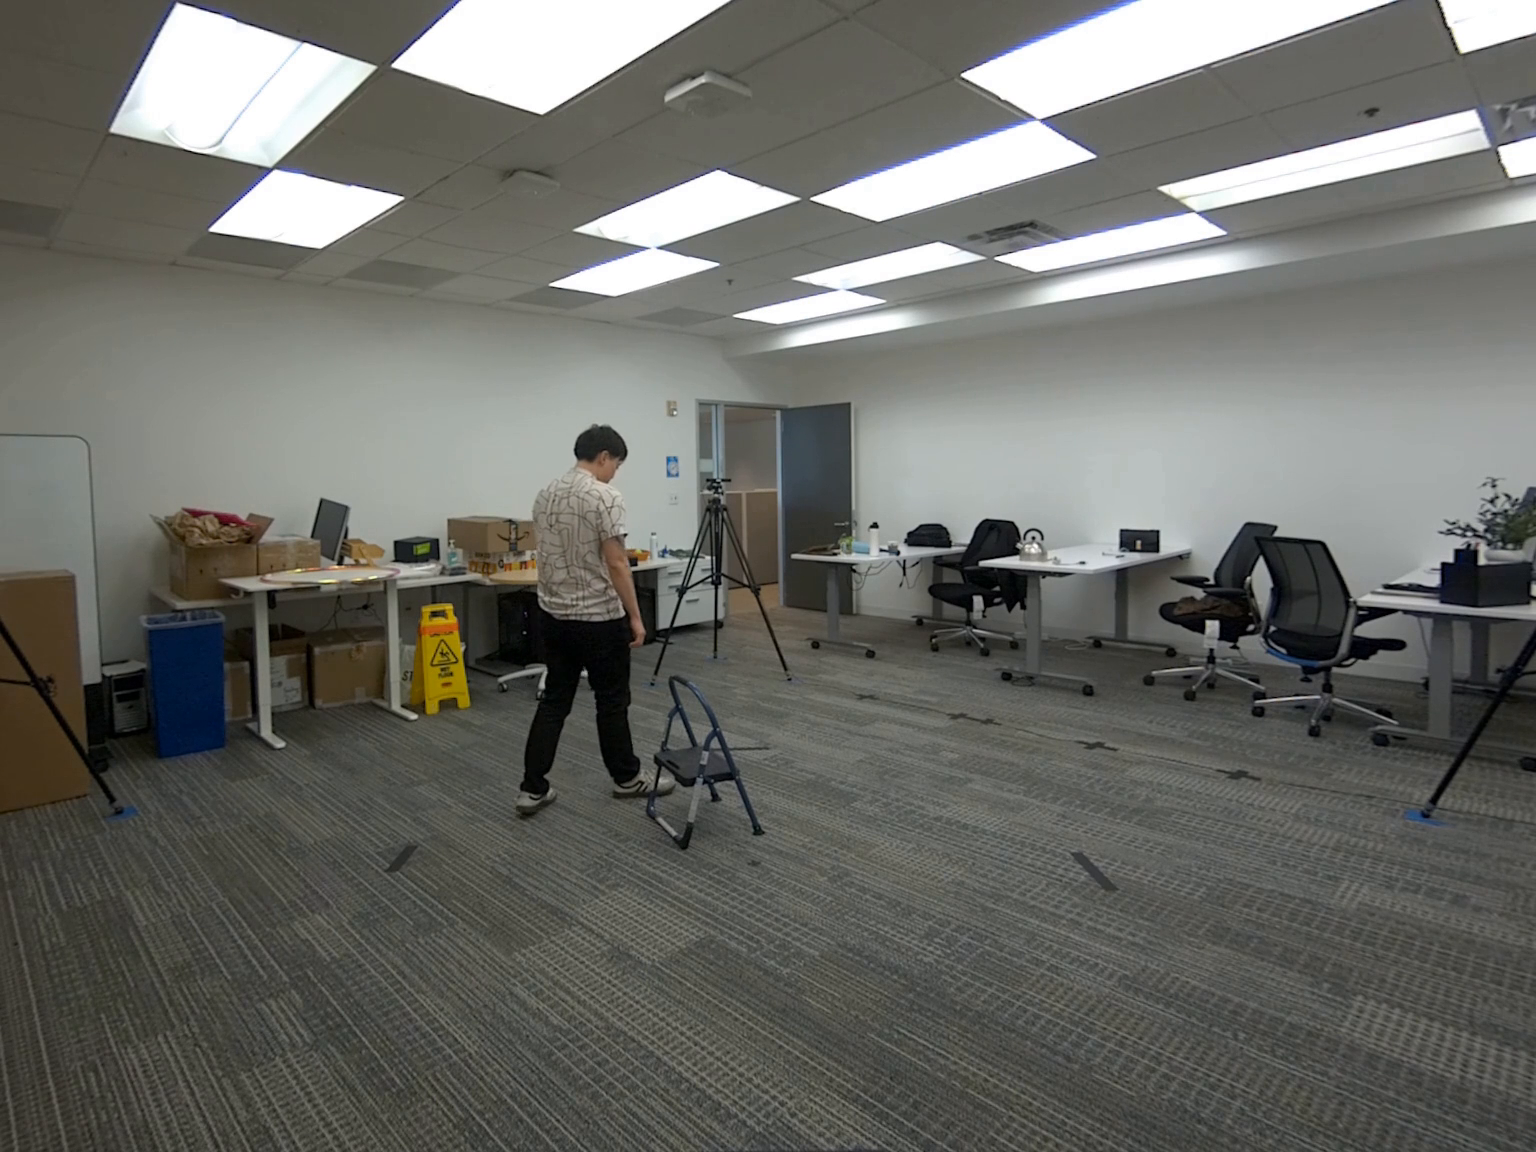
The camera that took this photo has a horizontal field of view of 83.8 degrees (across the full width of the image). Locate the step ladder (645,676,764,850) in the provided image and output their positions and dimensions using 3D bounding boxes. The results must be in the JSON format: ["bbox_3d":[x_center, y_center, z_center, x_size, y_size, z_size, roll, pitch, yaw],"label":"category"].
[{"bbox_3d":[-0.268,0.704,3.460,0.341,0.604,0.442,-3,5,-28],"label":"step ladder"}]
